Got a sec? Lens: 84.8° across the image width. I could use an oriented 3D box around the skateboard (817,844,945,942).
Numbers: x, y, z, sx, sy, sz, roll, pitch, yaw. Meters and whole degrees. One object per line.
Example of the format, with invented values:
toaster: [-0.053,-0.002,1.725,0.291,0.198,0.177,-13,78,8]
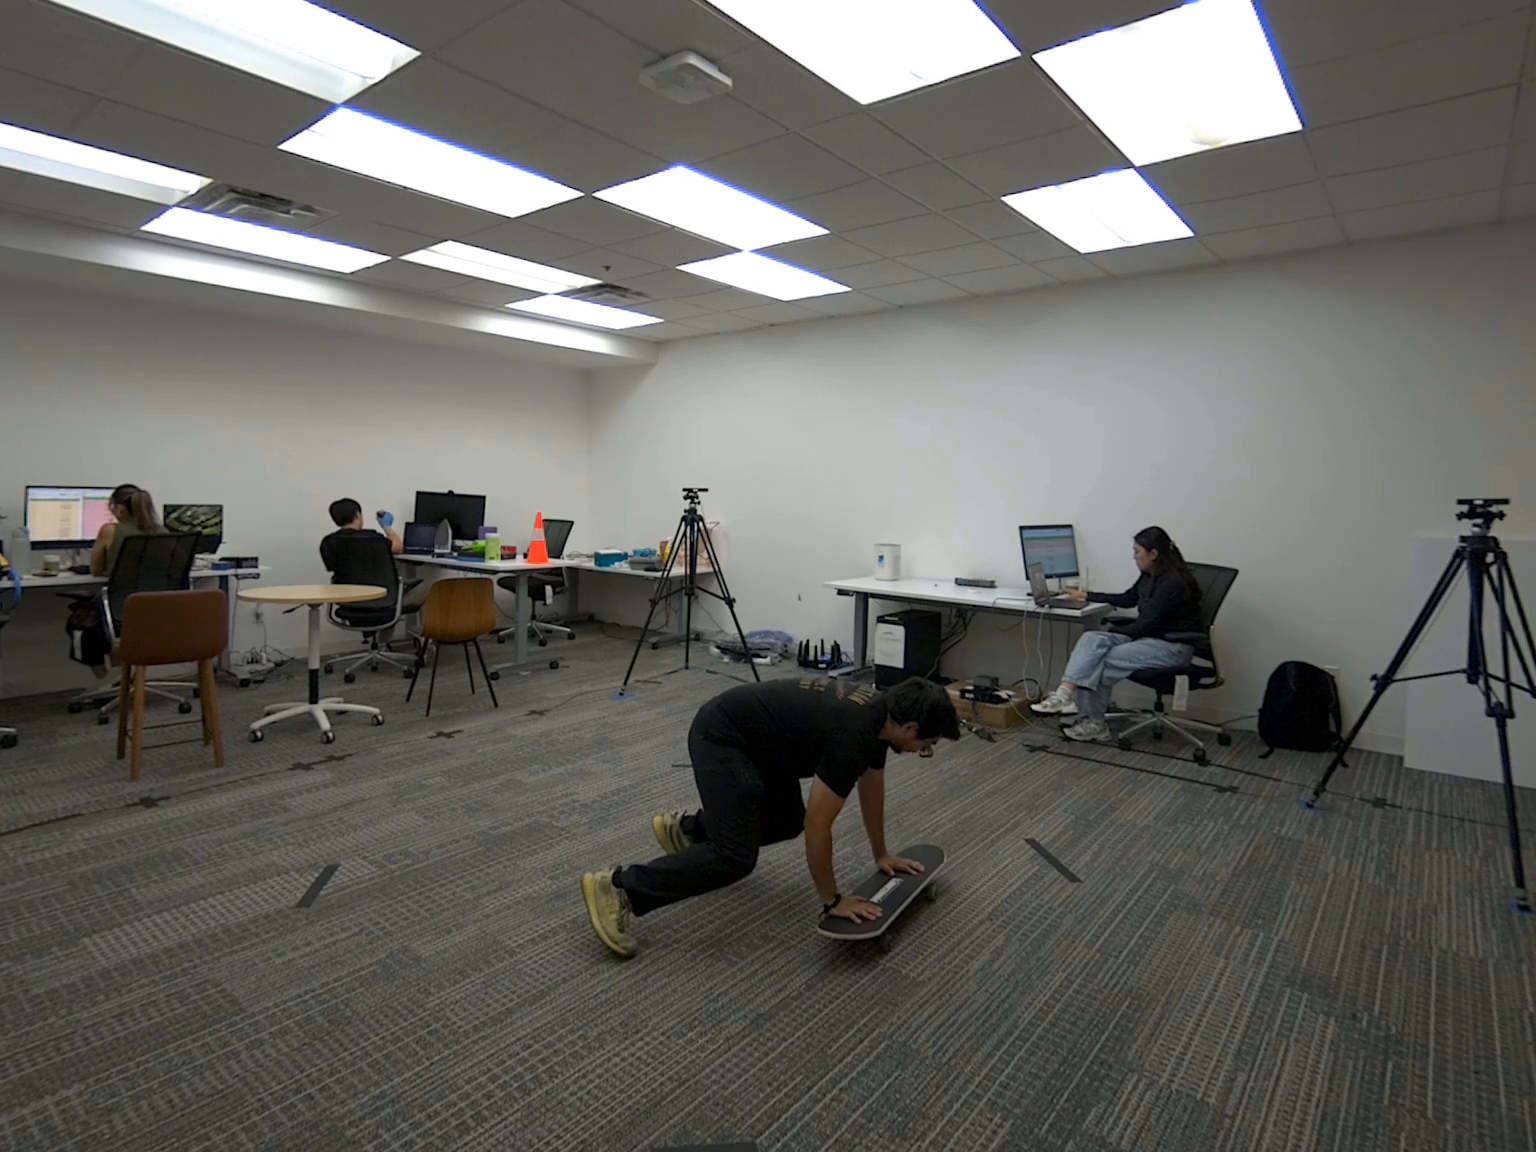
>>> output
skateboard: [0.388,1.060,2.792,0.198,0.110,0.765,-5,2,31]
